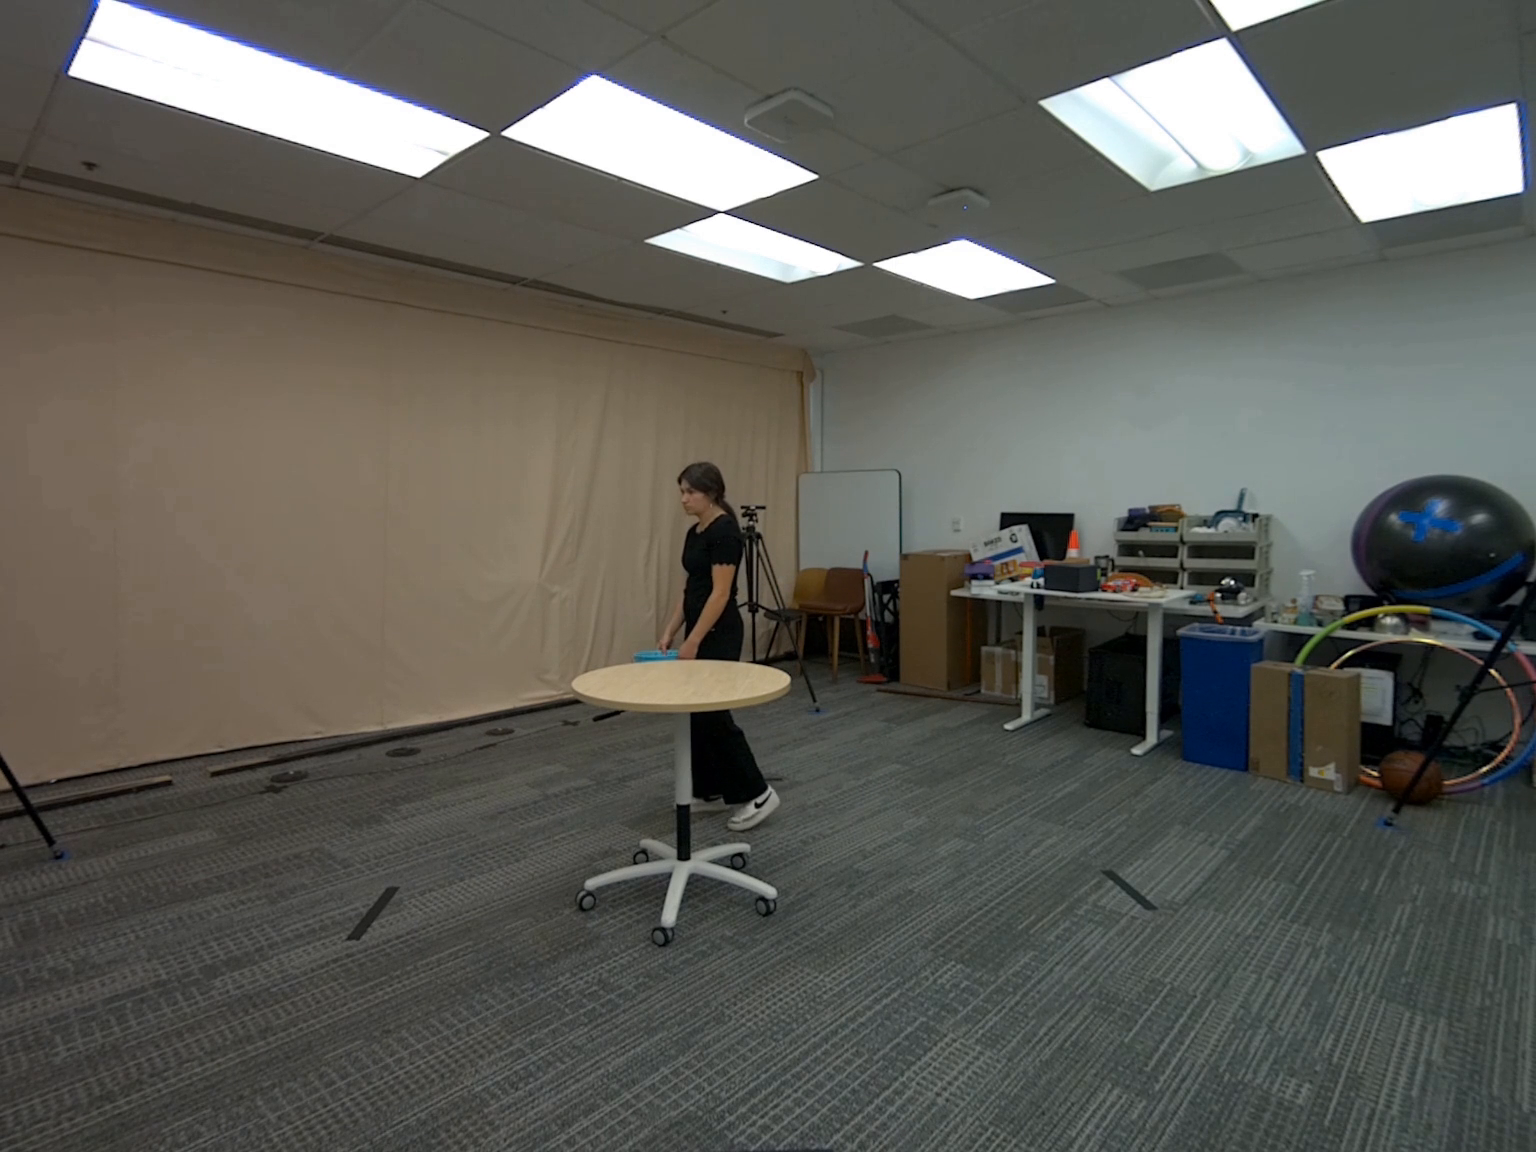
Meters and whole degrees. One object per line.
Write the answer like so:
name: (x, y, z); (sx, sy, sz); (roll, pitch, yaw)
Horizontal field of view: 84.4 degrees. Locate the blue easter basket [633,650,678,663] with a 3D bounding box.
blue easter basket: (-0.462, 0.410, 3.692); (0.243, 0.156, 0.244); (-2, 0, -2)
